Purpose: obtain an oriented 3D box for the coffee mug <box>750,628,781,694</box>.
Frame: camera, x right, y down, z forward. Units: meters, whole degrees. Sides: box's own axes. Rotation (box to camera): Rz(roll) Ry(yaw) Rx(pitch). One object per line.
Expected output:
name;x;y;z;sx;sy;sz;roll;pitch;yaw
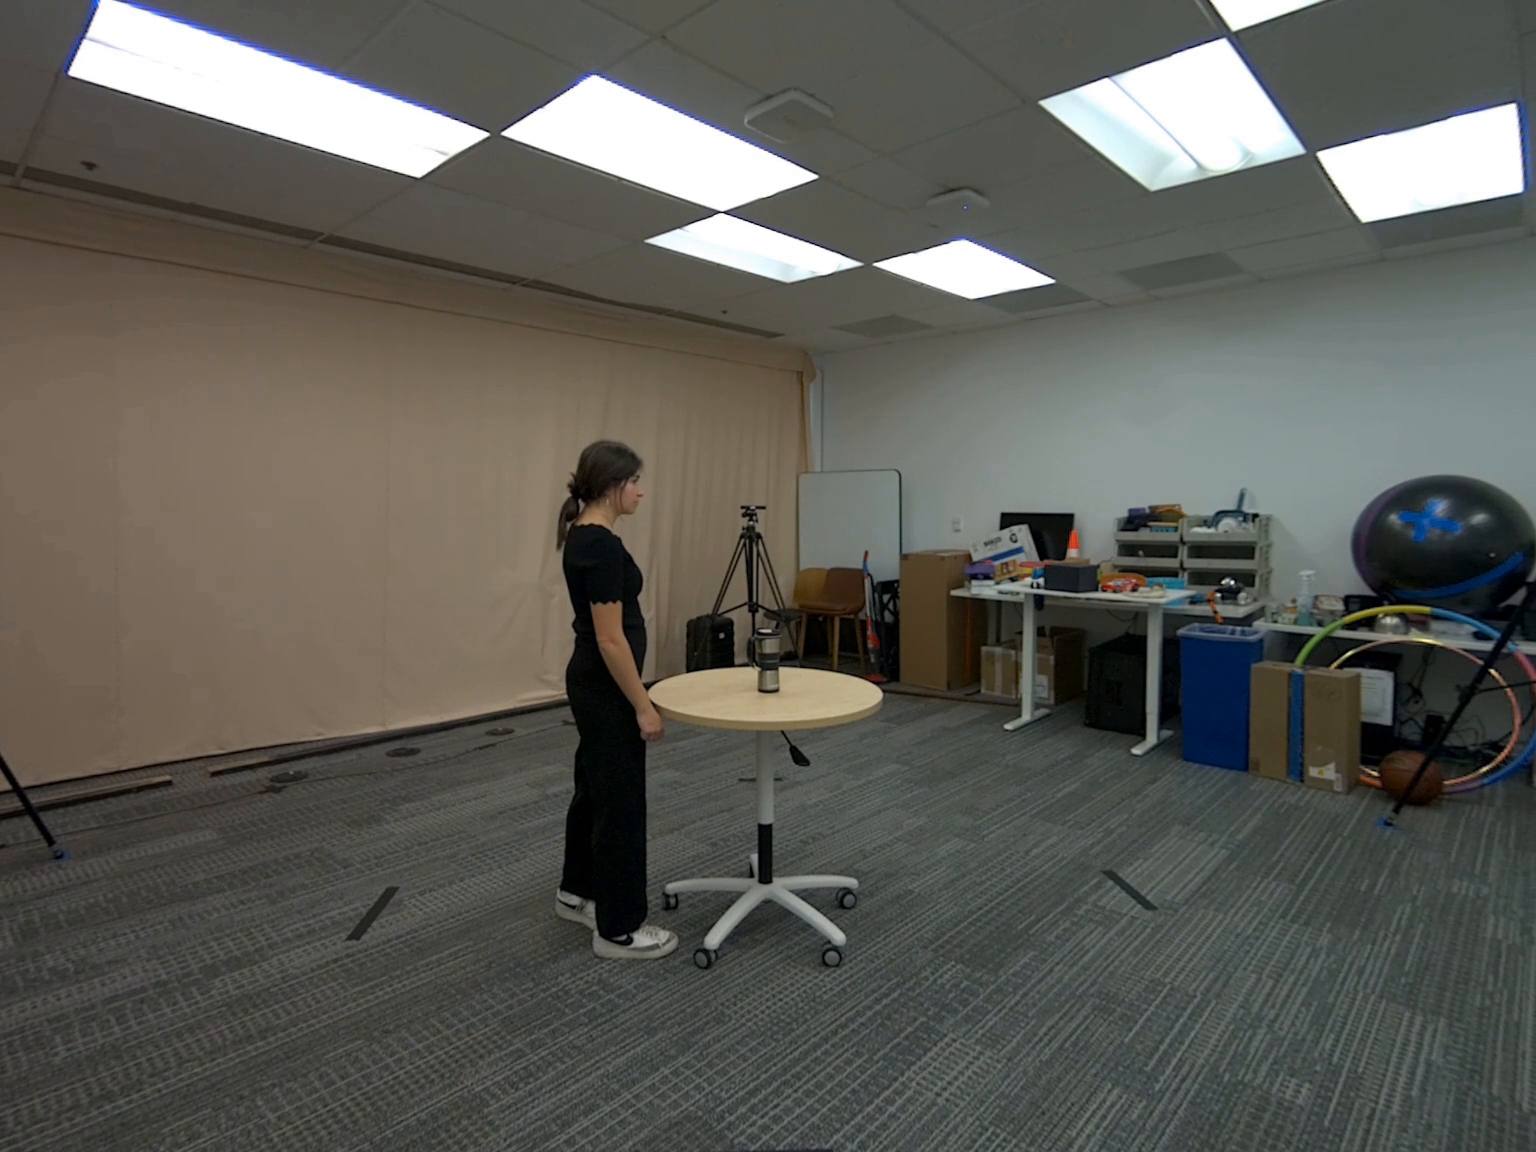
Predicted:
coffee mug;-0.010;0.280;2.761;0.126;0.202;0.085;6;10;36
